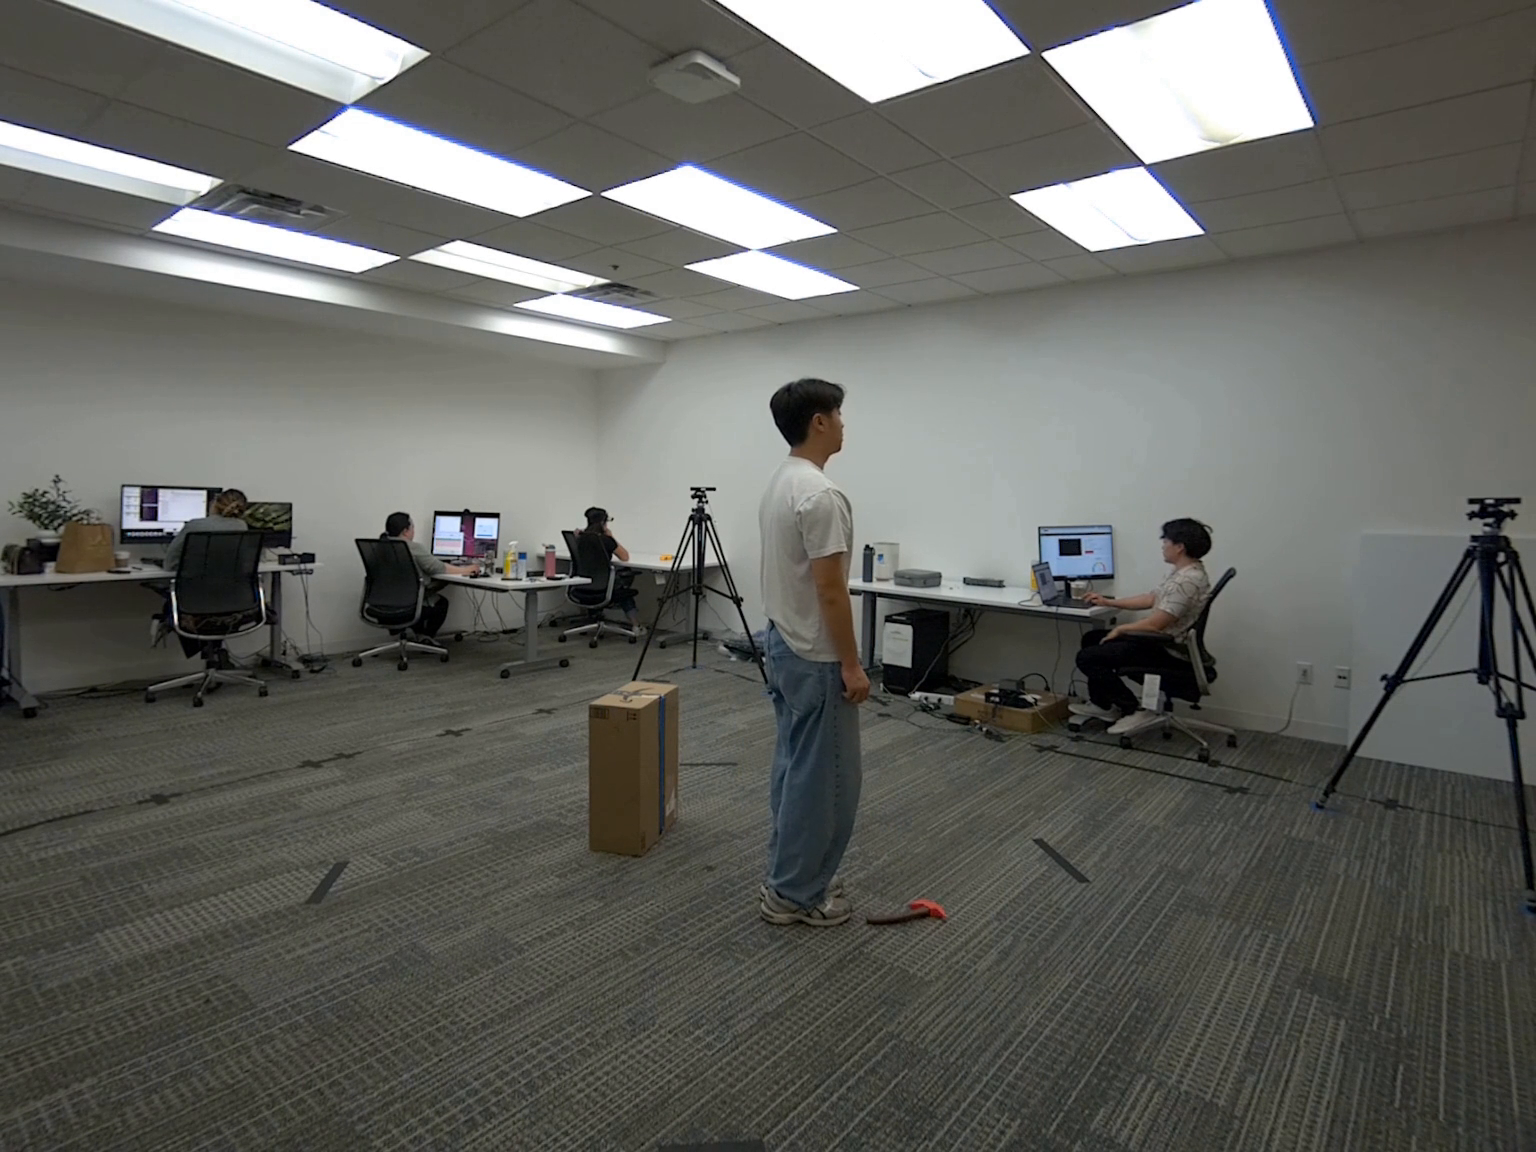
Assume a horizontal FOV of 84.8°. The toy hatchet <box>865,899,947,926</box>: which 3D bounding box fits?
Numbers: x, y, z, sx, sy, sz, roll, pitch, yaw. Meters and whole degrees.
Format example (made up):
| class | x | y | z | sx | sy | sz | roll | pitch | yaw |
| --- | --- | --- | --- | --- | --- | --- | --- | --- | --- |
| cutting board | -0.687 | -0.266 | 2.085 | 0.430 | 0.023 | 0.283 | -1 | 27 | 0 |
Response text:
| class | x | y | z | sx | sy | sz | roll | pitch | yaw |
| --- | --- | --- | --- | --- | --- | --- | --- | --- | --- |
| toy hatchet | 0.434 | 1.104 | 2.802 | 0.268 | 0.029 | 0.133 | -1 | 6 | -8 |
